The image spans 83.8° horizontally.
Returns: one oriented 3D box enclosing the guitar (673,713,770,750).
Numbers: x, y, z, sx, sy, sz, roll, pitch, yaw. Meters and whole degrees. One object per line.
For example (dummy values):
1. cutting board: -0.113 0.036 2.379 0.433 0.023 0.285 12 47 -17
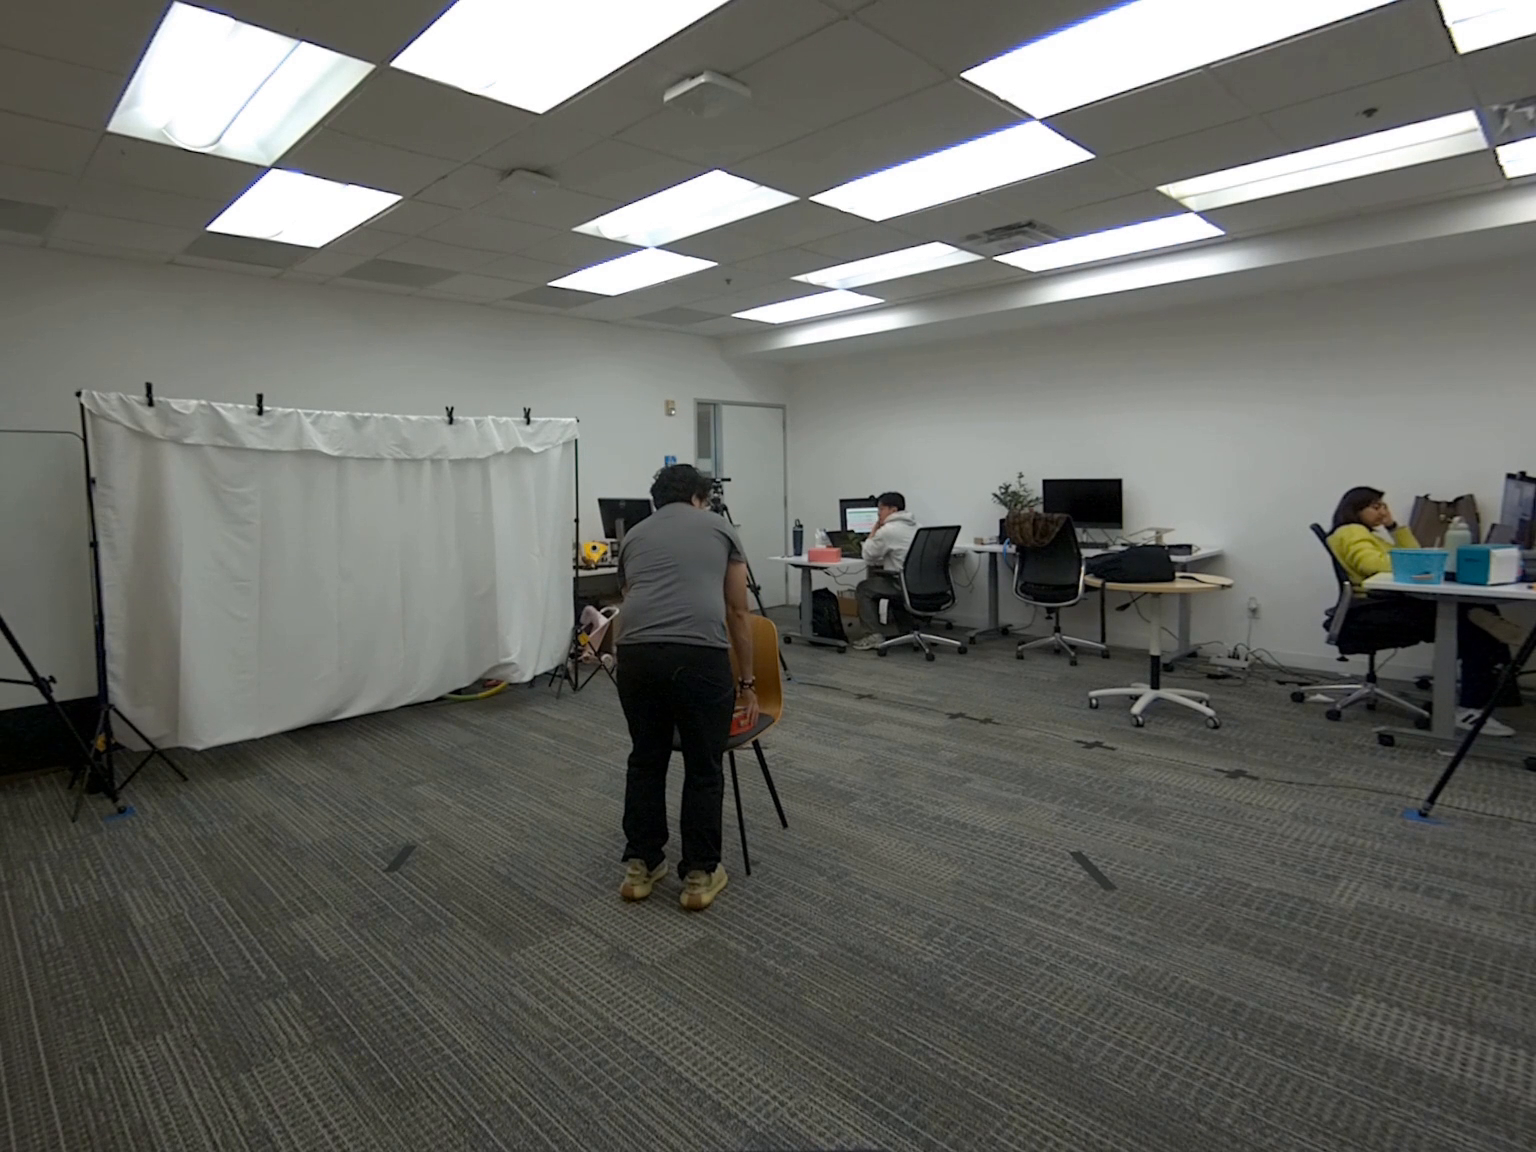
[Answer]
1. guitar: -0.264 0.527 3.220 0.188 0.070 0.512 -4 4 -45
